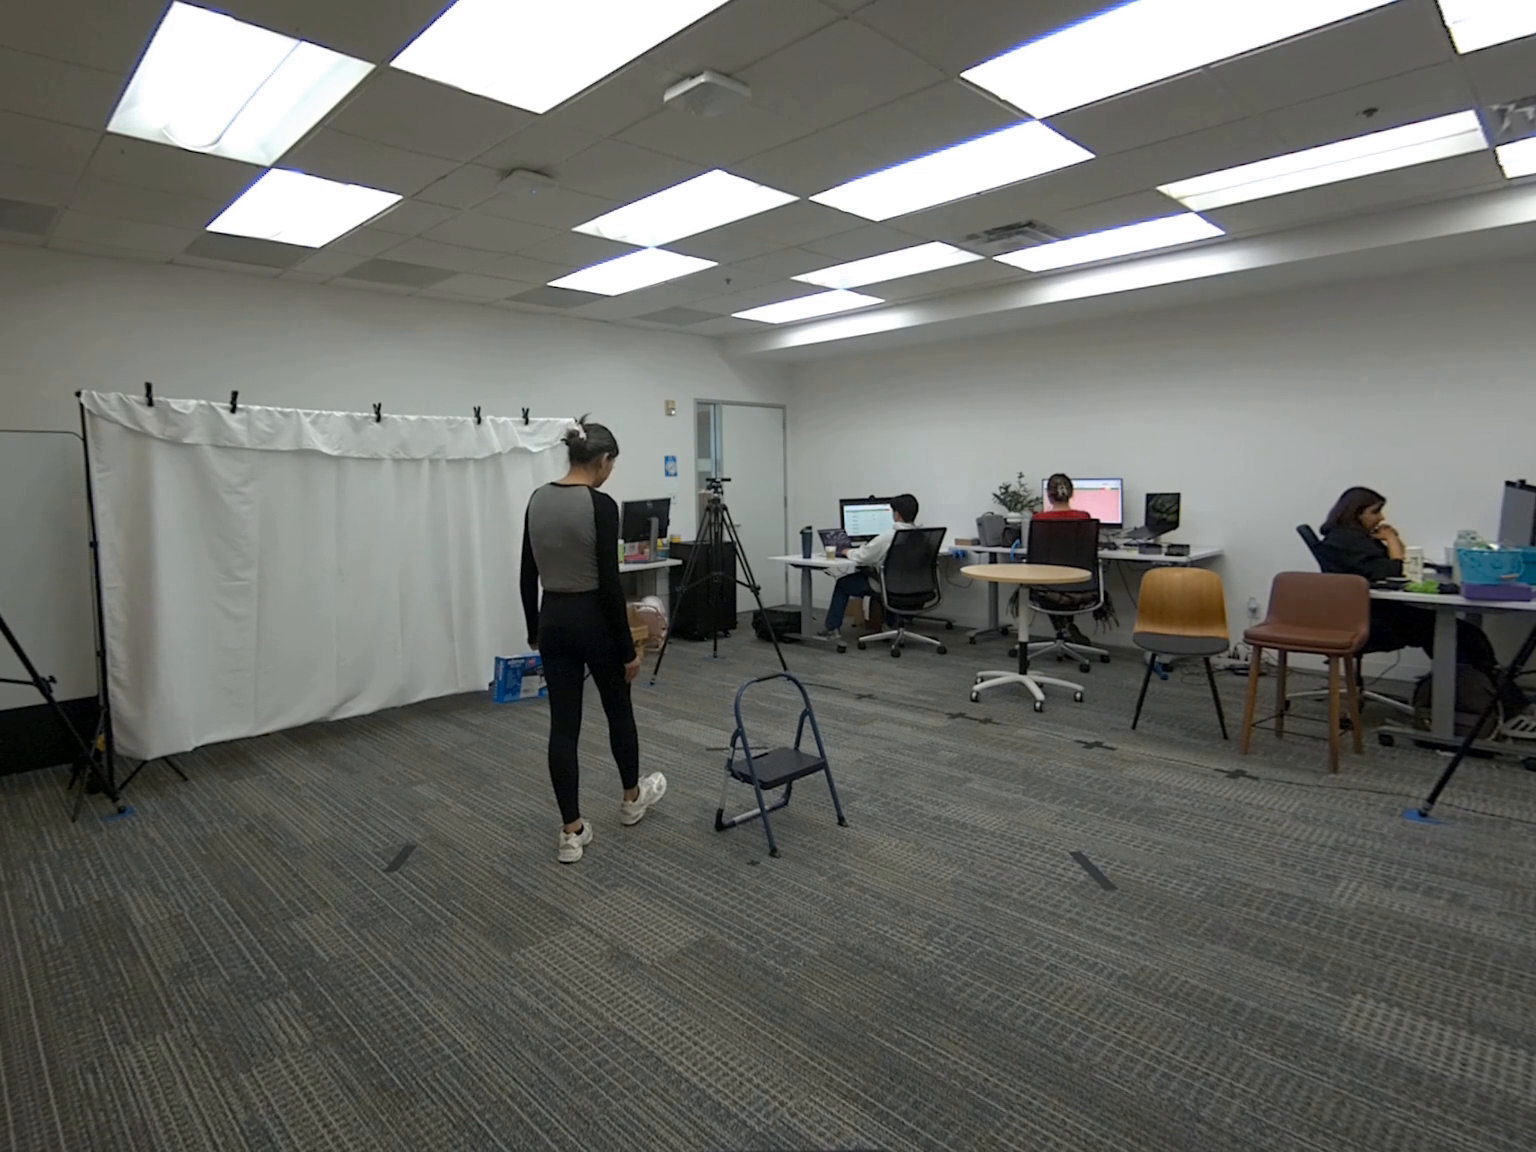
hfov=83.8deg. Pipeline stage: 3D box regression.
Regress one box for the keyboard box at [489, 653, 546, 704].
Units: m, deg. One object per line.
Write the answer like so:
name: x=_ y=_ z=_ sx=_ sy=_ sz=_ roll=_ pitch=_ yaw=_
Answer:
keyboard box: x=-0.914 y=0.397 z=3.445 sx=0.060 sy=0.176 sz=0.426 roll=4 pitch=1 yaw=25
